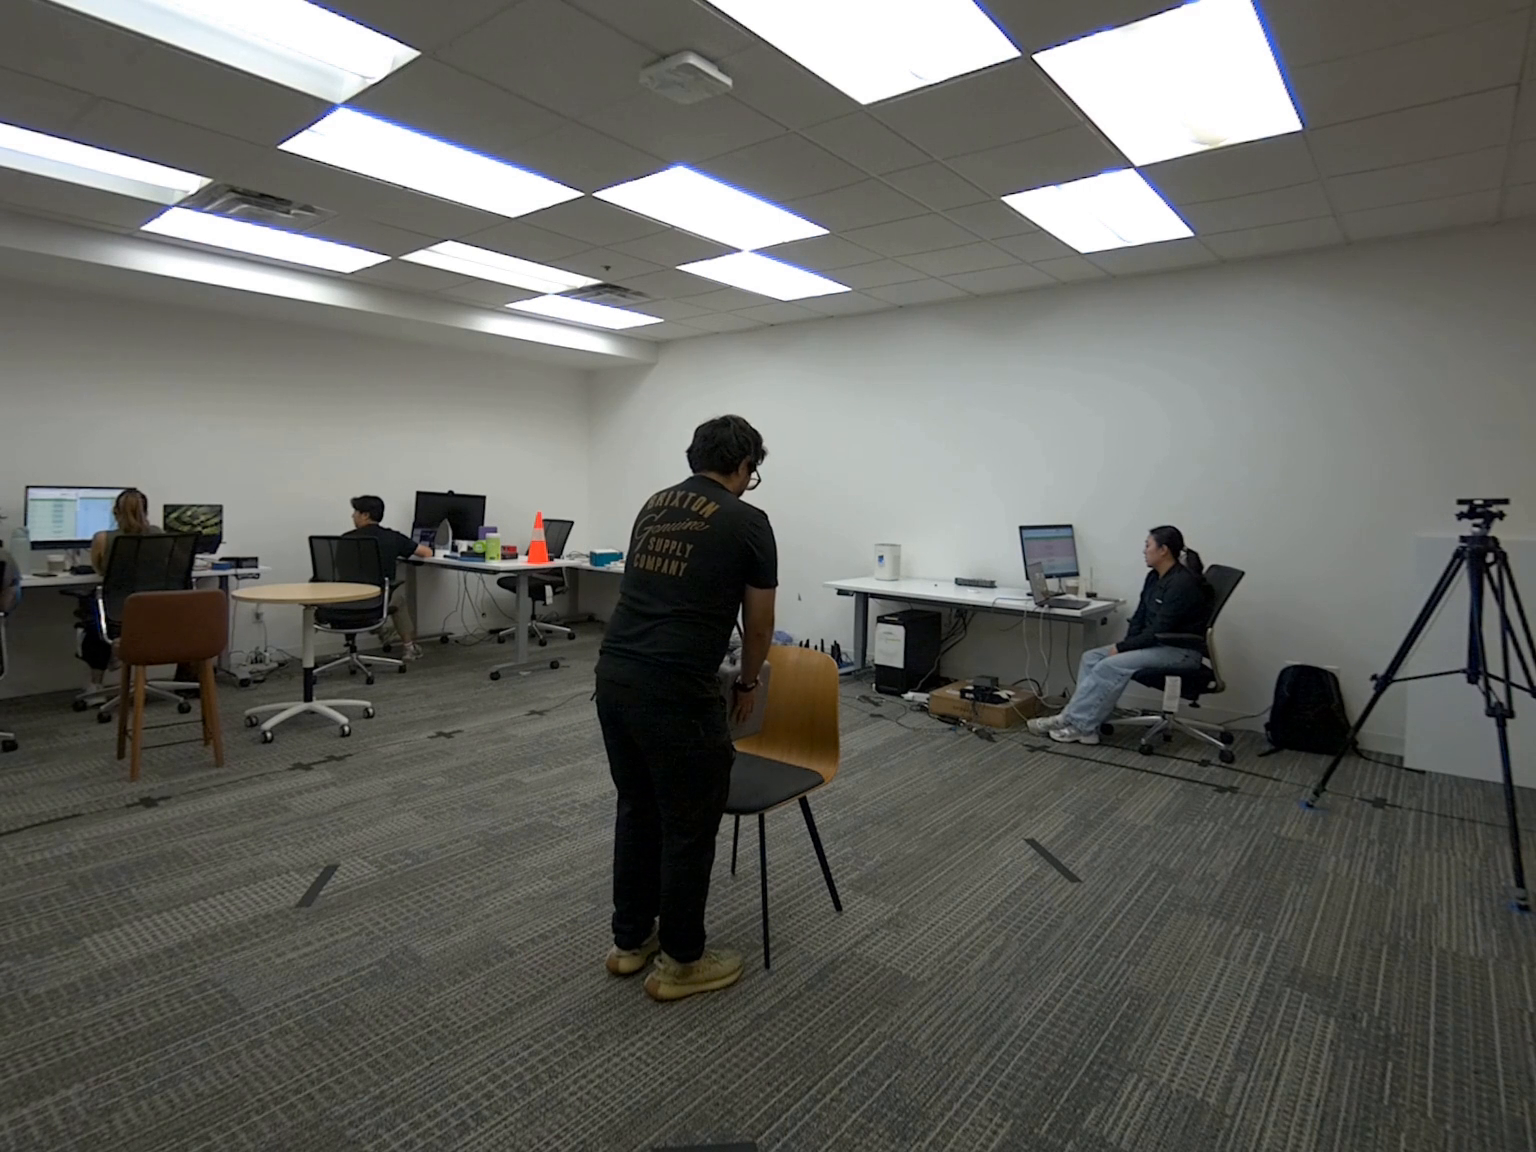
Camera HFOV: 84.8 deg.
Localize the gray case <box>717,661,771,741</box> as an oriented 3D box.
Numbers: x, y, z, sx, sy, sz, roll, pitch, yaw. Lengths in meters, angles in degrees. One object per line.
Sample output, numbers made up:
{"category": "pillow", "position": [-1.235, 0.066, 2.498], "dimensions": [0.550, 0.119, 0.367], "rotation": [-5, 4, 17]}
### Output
{"category": "gray case", "position": [-0.115, 0.388, 2.678], "dimensions": [0.108, 0.259, 0.249], "rotation": [16, 11, 34]}
